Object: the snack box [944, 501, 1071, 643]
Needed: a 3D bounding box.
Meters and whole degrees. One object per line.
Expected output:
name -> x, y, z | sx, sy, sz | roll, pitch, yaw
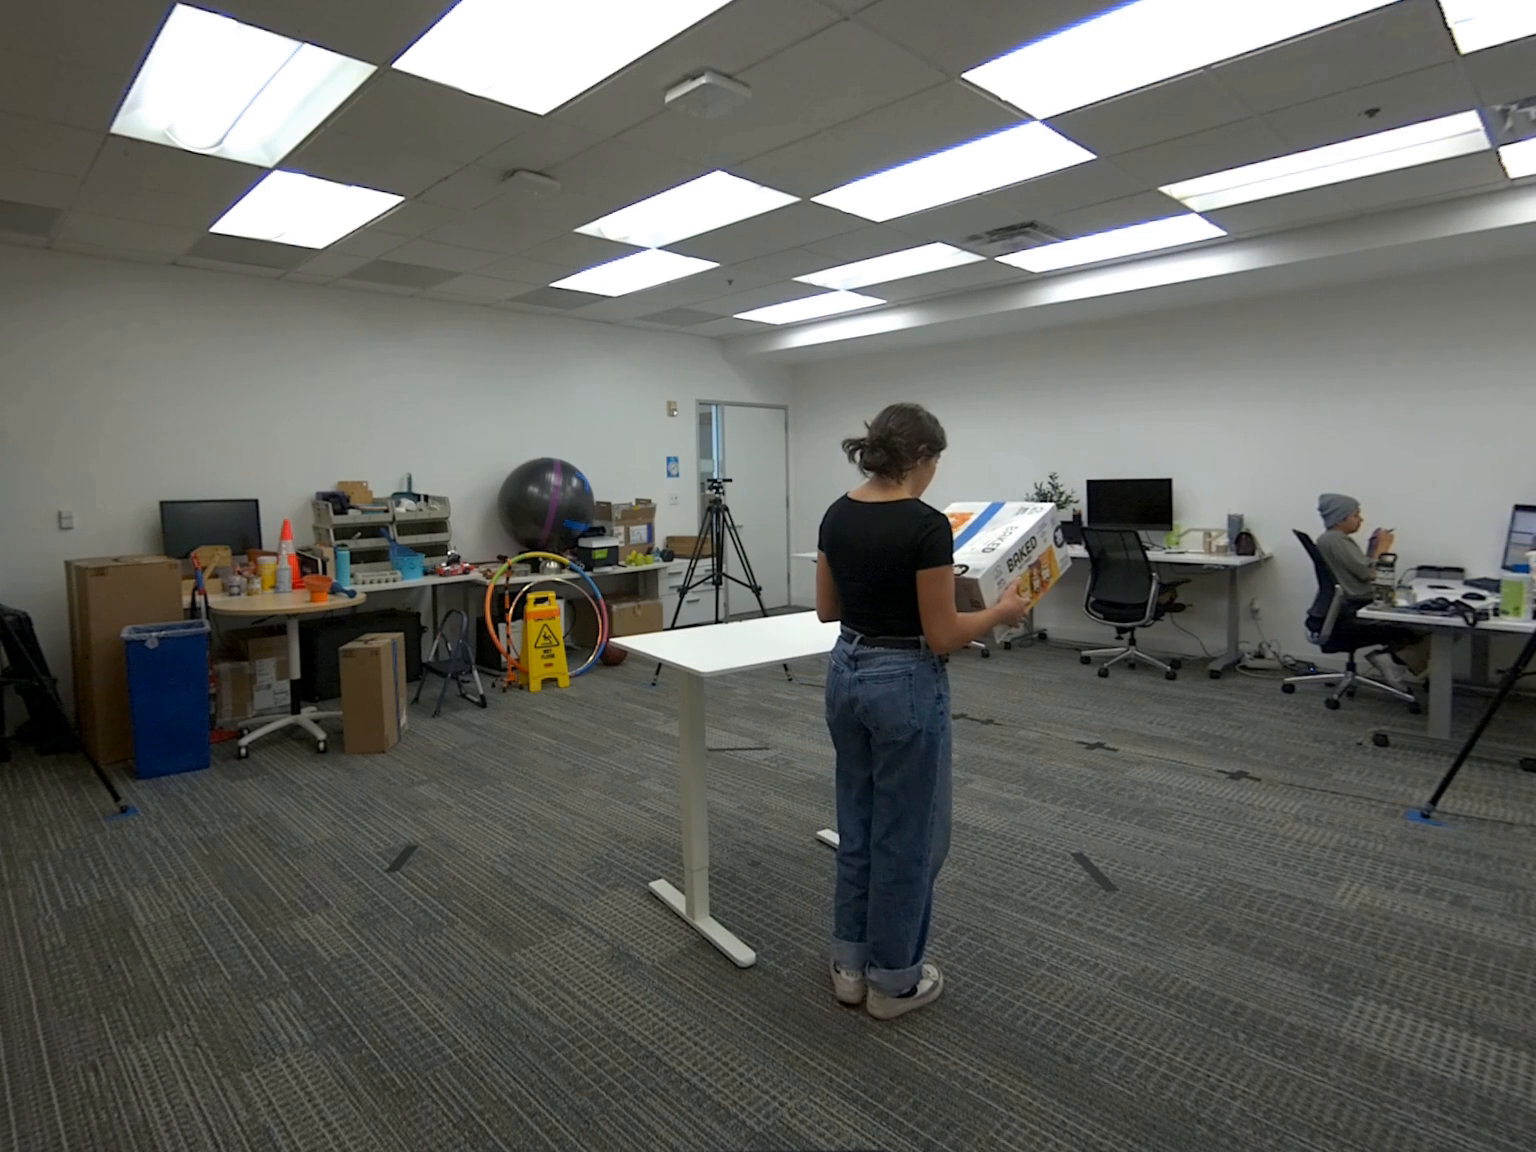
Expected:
snack box -> 0.588, -0.024, 2.406 | 0.402, 0.201, 0.351 | -38, 26, -32
